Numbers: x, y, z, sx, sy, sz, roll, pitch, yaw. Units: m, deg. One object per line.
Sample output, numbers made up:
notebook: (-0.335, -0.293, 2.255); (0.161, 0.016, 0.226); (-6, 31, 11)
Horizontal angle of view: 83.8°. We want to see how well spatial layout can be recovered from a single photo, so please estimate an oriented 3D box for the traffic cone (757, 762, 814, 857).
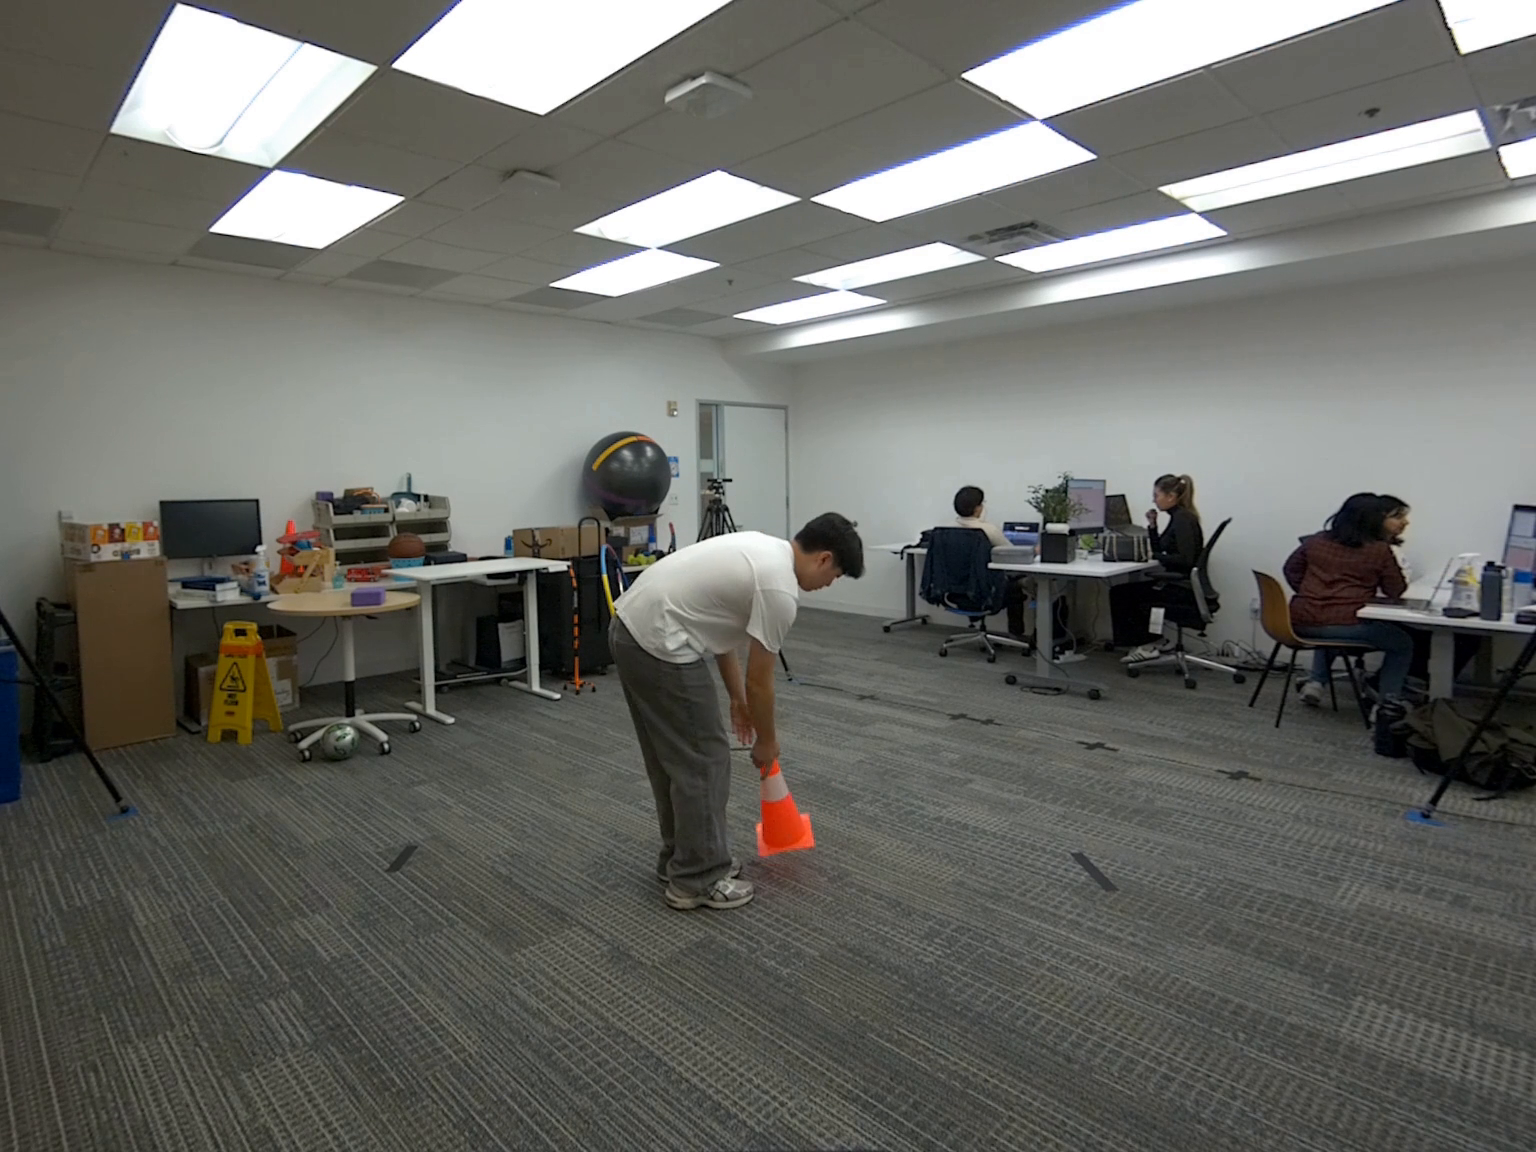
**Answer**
traffic cone: (0.033, 0.741, 2.999); (0.205, 0.378, 0.205); (-10, 13, 3)
